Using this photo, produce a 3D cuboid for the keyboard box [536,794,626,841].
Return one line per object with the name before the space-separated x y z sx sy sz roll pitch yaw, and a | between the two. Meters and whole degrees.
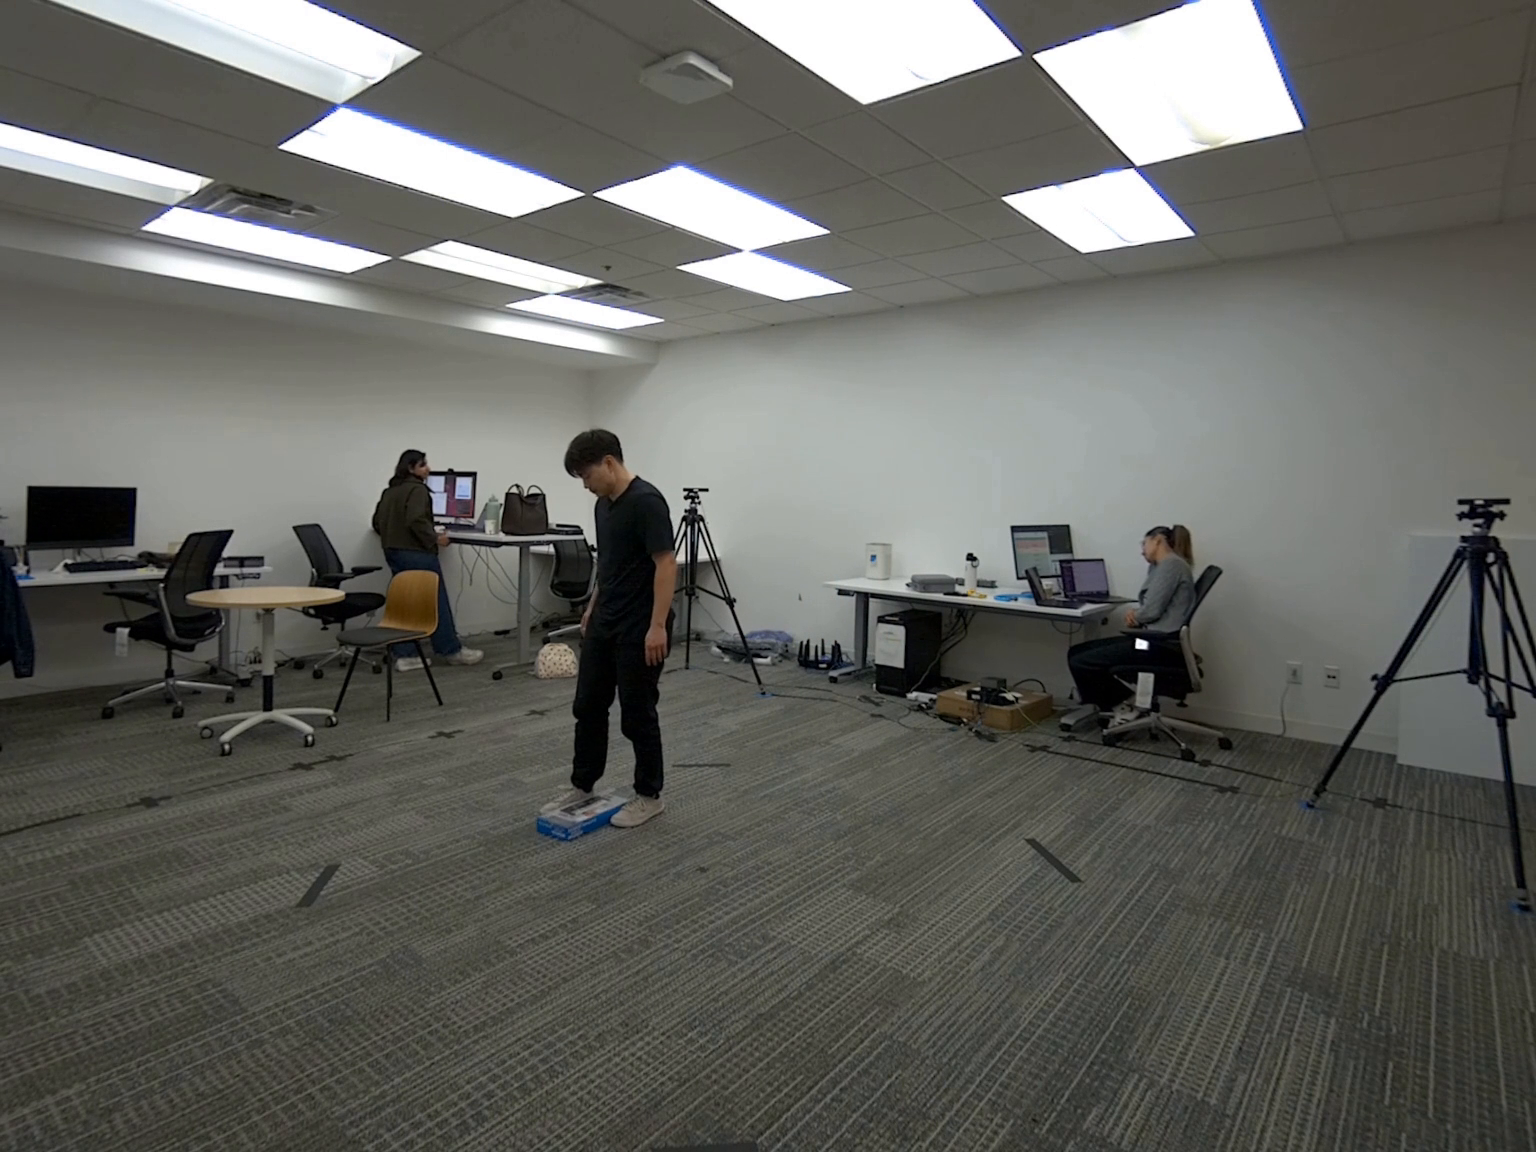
keyboard box | -0.753 0.990 3.549 0.181 0.059 0.425 4 6 33
